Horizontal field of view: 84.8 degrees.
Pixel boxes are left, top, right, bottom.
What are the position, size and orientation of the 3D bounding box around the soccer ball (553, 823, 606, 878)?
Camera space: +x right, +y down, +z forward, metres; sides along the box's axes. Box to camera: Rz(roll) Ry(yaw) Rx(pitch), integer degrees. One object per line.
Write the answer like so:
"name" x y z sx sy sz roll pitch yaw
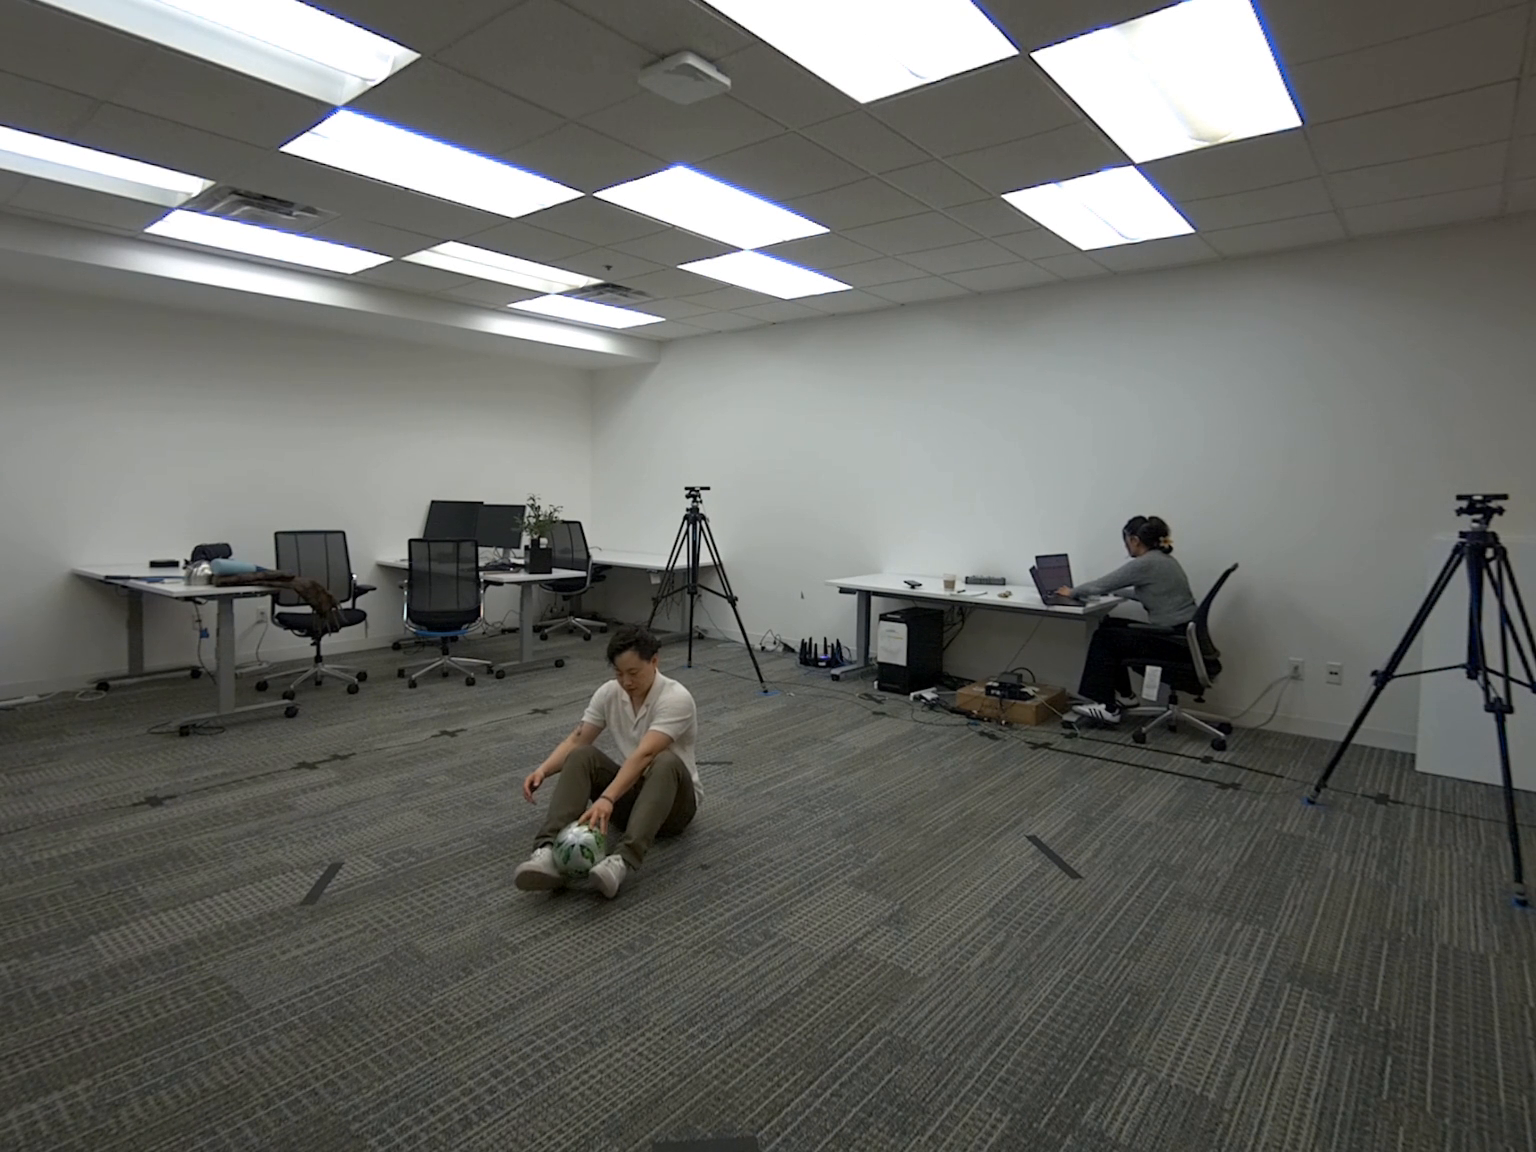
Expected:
"soccer ball" -0.652 0.927 2.904 0.187 0.187 0.188 1 4 -2
